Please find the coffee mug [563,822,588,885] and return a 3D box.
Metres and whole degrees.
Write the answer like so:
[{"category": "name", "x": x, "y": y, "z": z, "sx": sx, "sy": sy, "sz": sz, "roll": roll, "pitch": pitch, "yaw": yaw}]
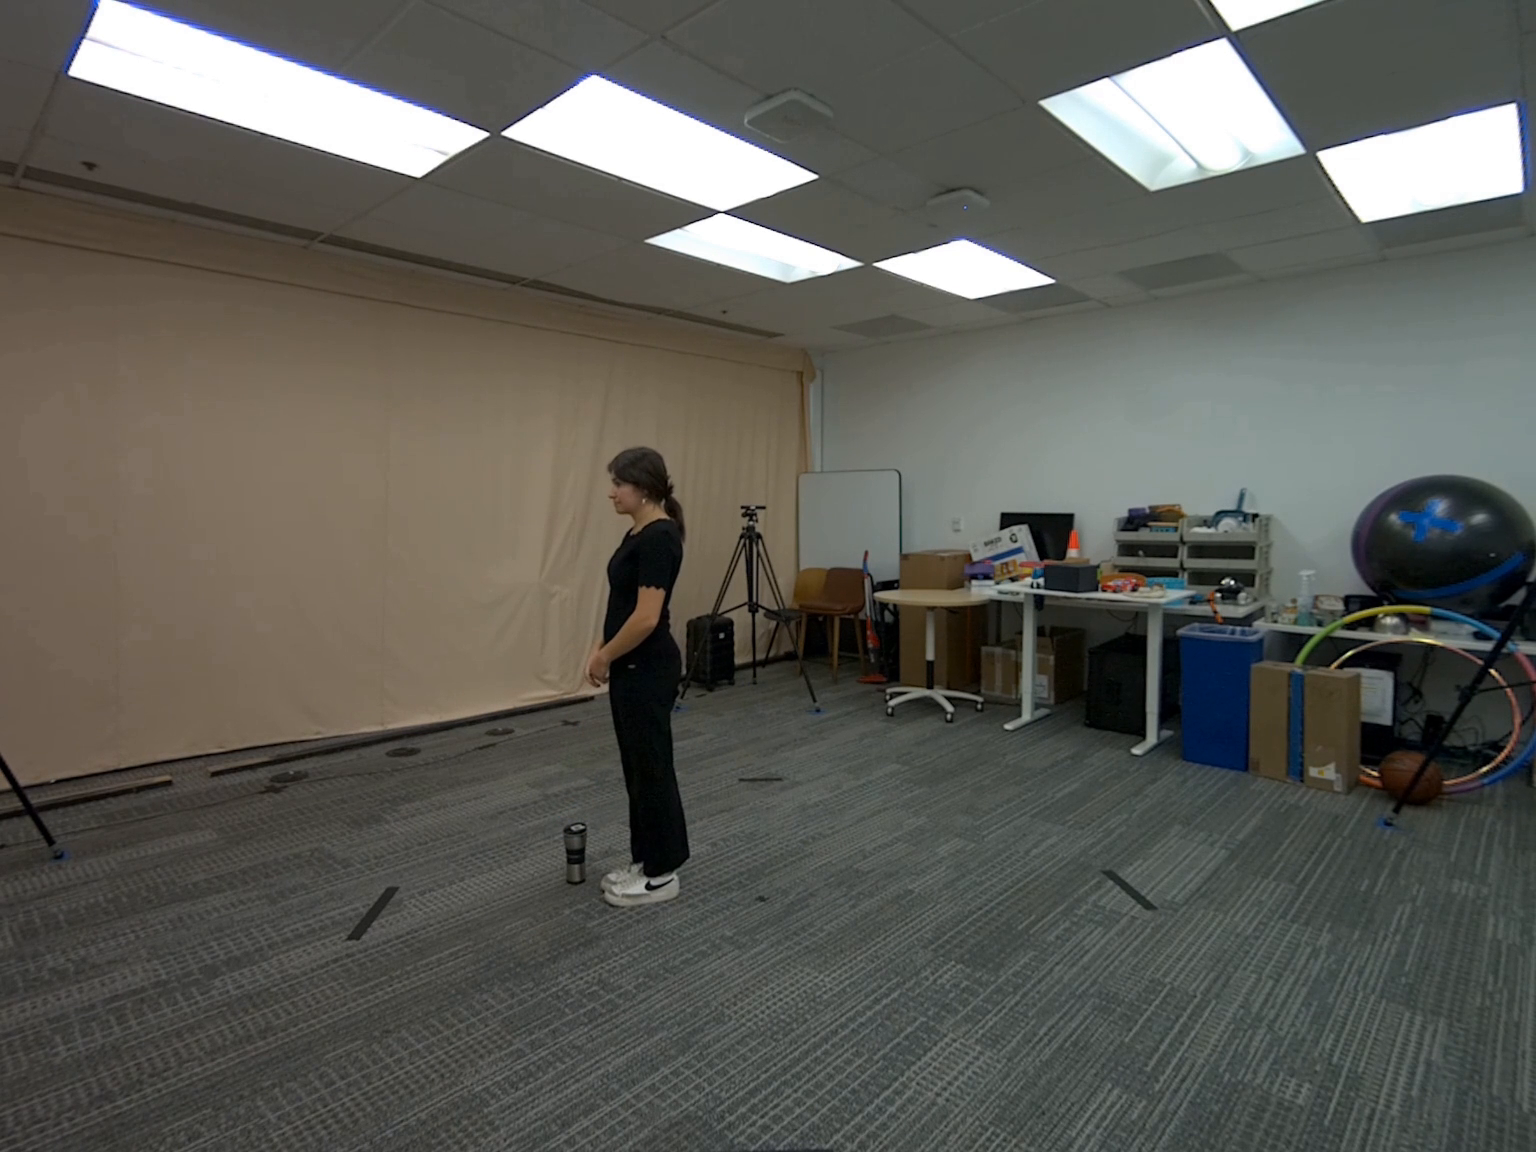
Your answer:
[{"category": "coffee mug", "x": -0.705, "y": 1.042, "z": 3.156, "sx": 0.090, "sy": 0.203, "sz": 0.118, "roll": -2, "pitch": 2, "yaw": 35}]
